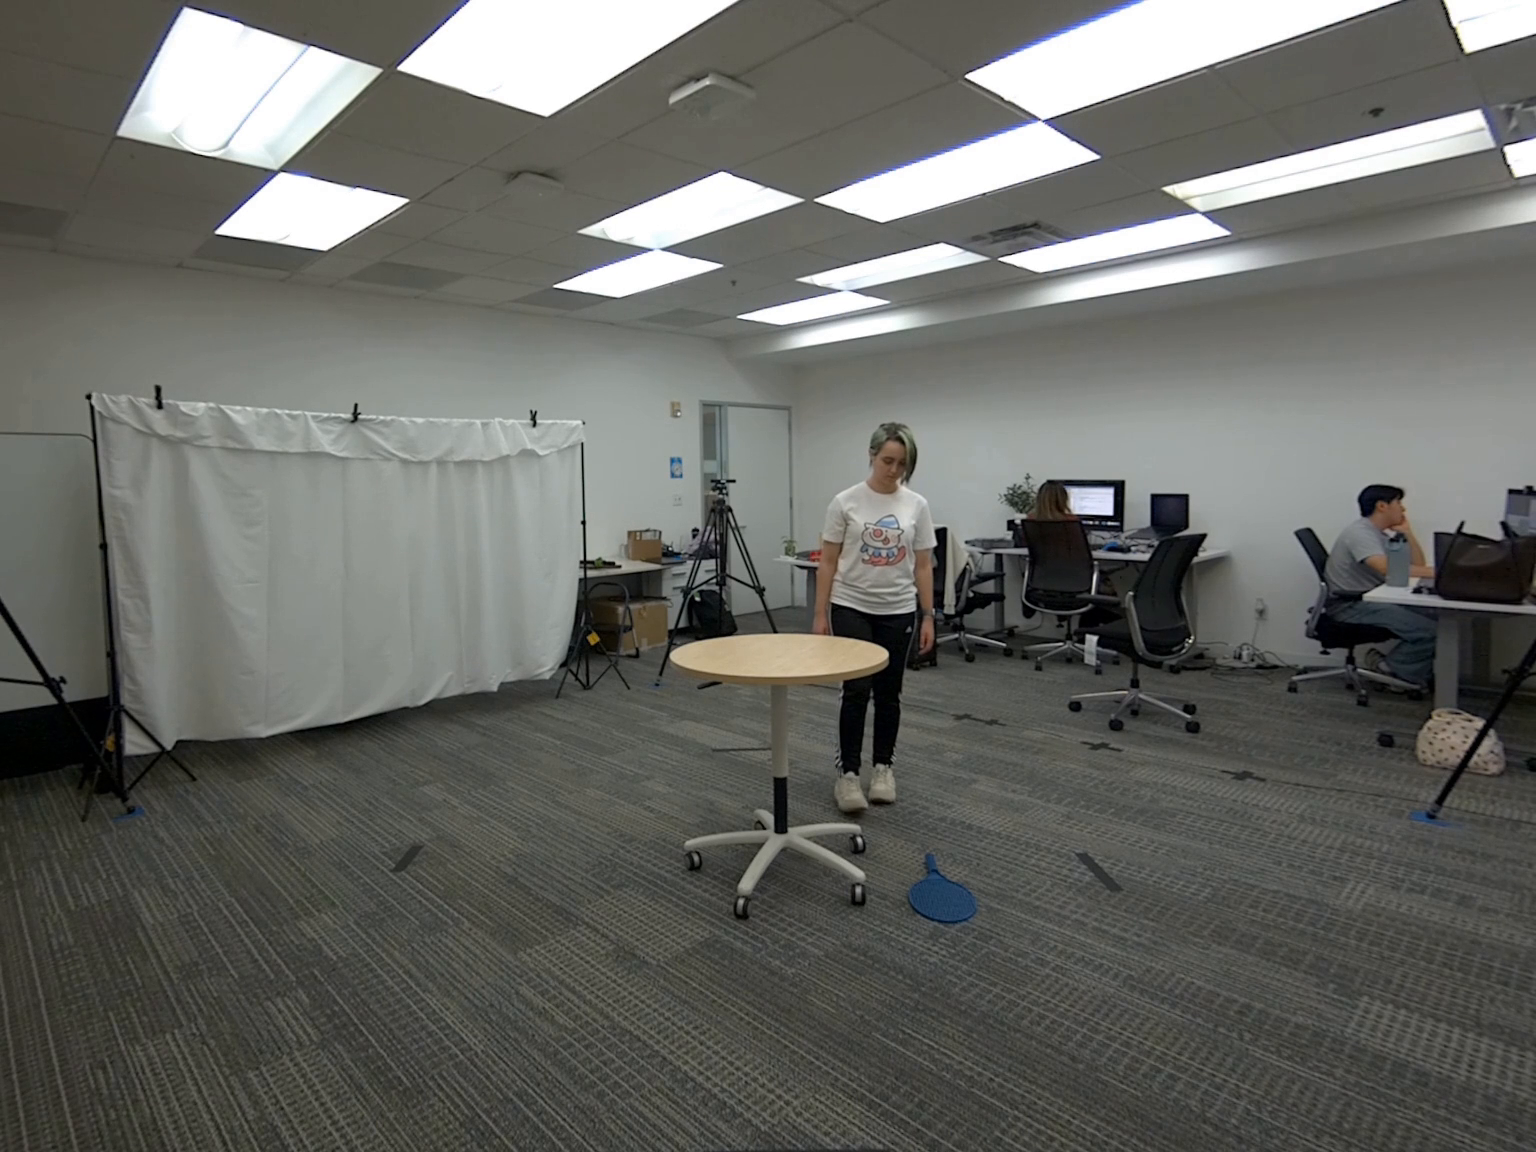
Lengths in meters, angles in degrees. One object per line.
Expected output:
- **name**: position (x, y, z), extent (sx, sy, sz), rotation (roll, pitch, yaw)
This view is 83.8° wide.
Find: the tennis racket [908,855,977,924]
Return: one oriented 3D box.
- **tennis racket**: position (0.565, 1.048, 2.884), extent (0.214, 0.031, 0.434), rotation (-1, 8, 3)
